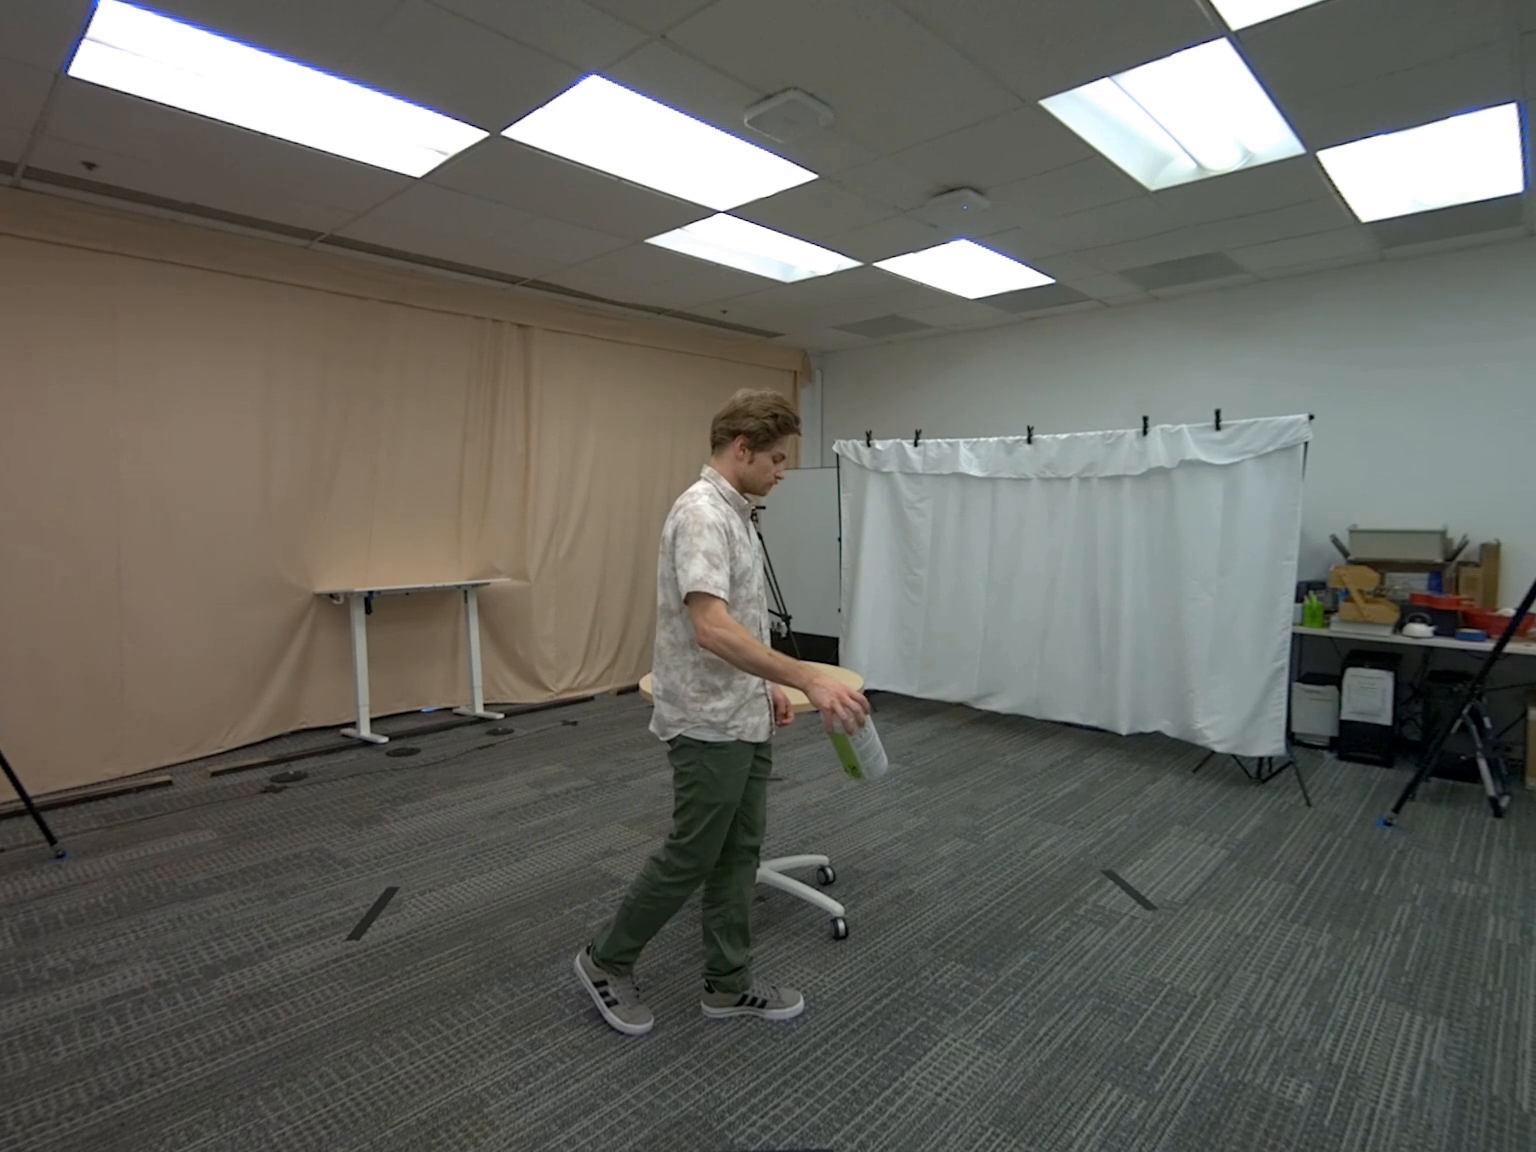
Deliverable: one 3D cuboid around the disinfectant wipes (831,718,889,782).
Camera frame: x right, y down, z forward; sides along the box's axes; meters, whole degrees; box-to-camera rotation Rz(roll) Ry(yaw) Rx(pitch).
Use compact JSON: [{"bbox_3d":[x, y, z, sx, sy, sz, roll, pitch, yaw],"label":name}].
[{"bbox_3d":[0.216,0.395,2.023,0.119,0.212,0.120,-19,28,9],"label":"disinfectant wipes"}]
